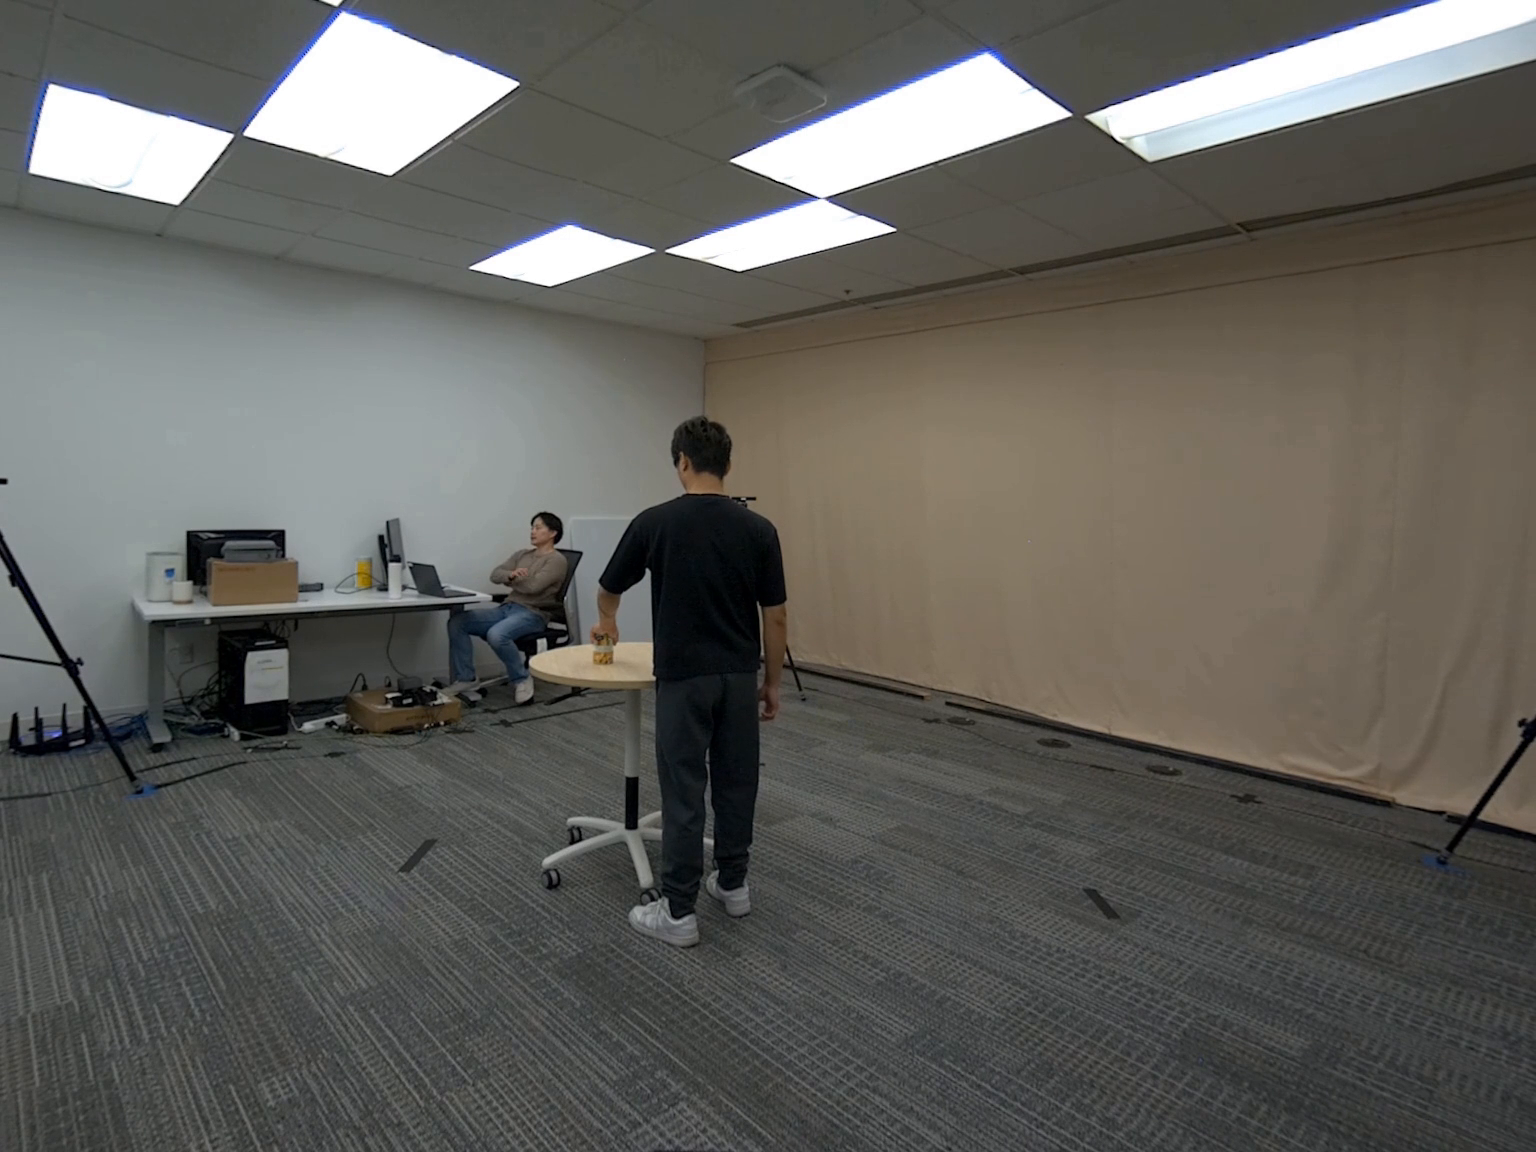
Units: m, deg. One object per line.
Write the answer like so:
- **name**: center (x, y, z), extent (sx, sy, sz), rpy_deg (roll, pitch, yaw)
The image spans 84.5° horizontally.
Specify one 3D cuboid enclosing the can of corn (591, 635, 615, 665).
- **can of corn**: center (-0.607, 0.262, 3.062), extent (0.074, 0.110, 0.074), rpy_deg (1, 7, -2)
